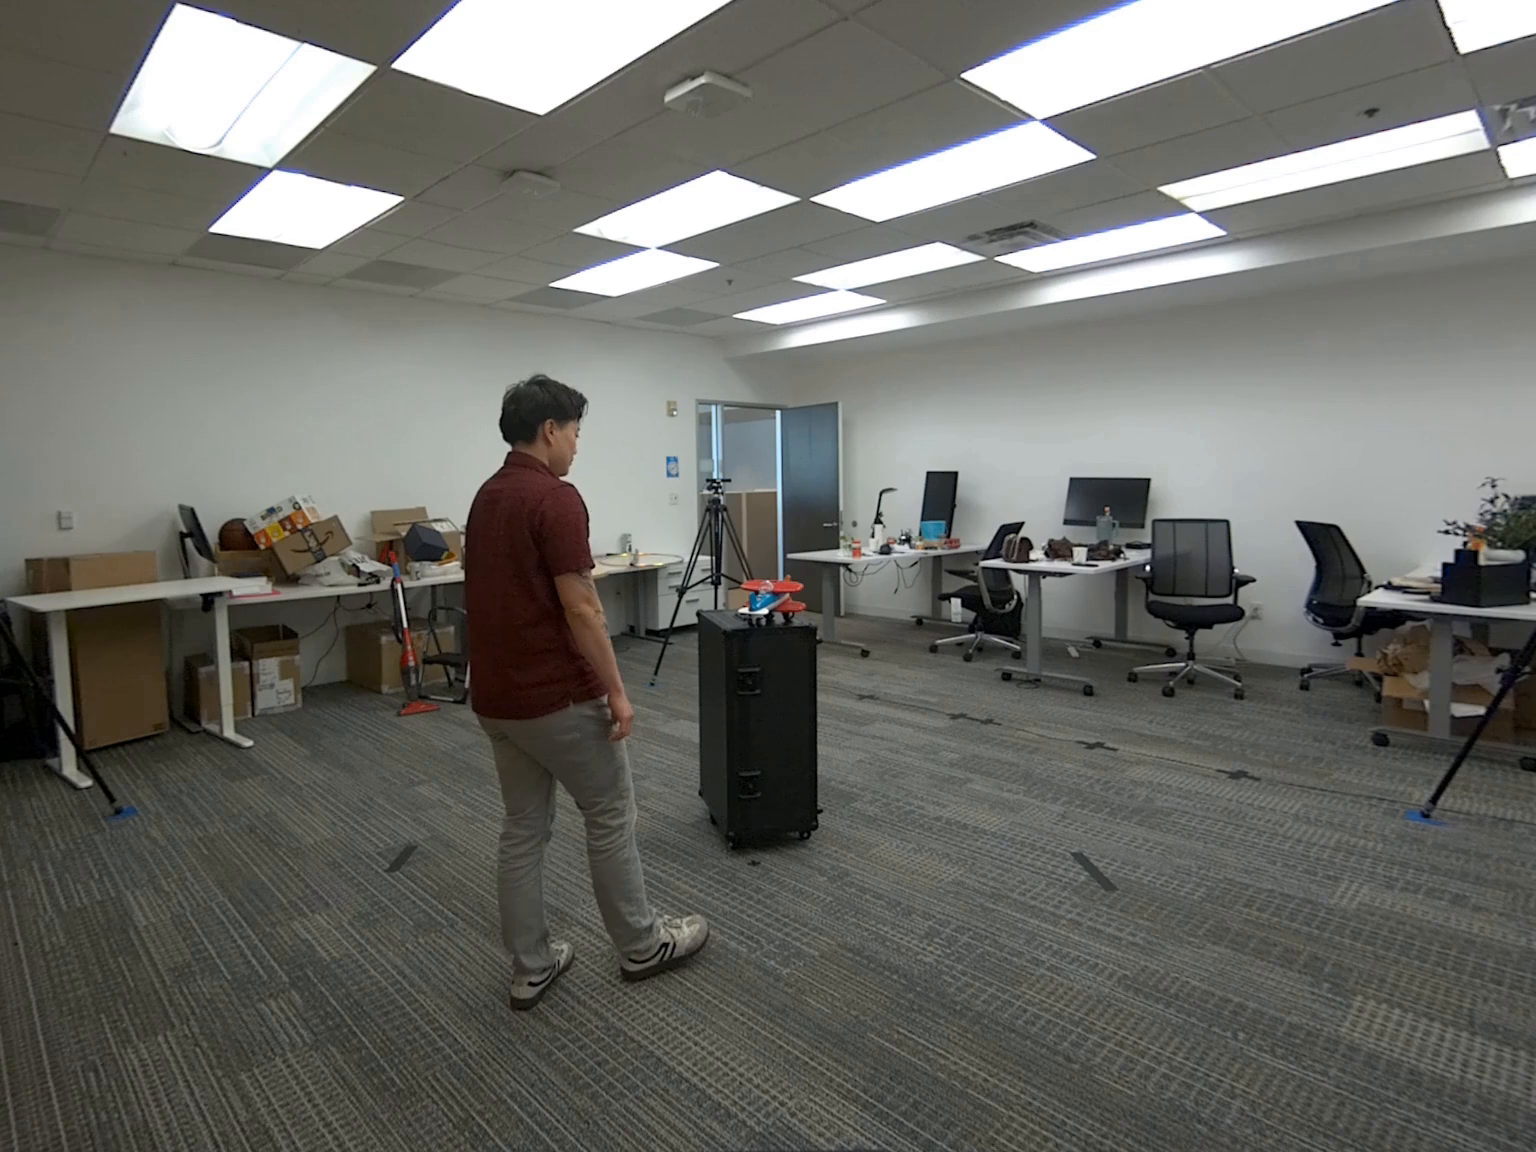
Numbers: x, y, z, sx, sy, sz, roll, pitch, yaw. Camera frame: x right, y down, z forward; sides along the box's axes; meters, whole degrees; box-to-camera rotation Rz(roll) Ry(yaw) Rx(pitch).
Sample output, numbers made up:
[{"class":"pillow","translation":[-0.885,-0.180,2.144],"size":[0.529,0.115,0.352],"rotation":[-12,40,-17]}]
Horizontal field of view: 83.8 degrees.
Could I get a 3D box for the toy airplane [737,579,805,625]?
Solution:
[{"class":"toy airplane","translation":[0.021,0.099,3.213],"size":[0.252,0.156,0.259],"rotation":[-1,4,3]}]
